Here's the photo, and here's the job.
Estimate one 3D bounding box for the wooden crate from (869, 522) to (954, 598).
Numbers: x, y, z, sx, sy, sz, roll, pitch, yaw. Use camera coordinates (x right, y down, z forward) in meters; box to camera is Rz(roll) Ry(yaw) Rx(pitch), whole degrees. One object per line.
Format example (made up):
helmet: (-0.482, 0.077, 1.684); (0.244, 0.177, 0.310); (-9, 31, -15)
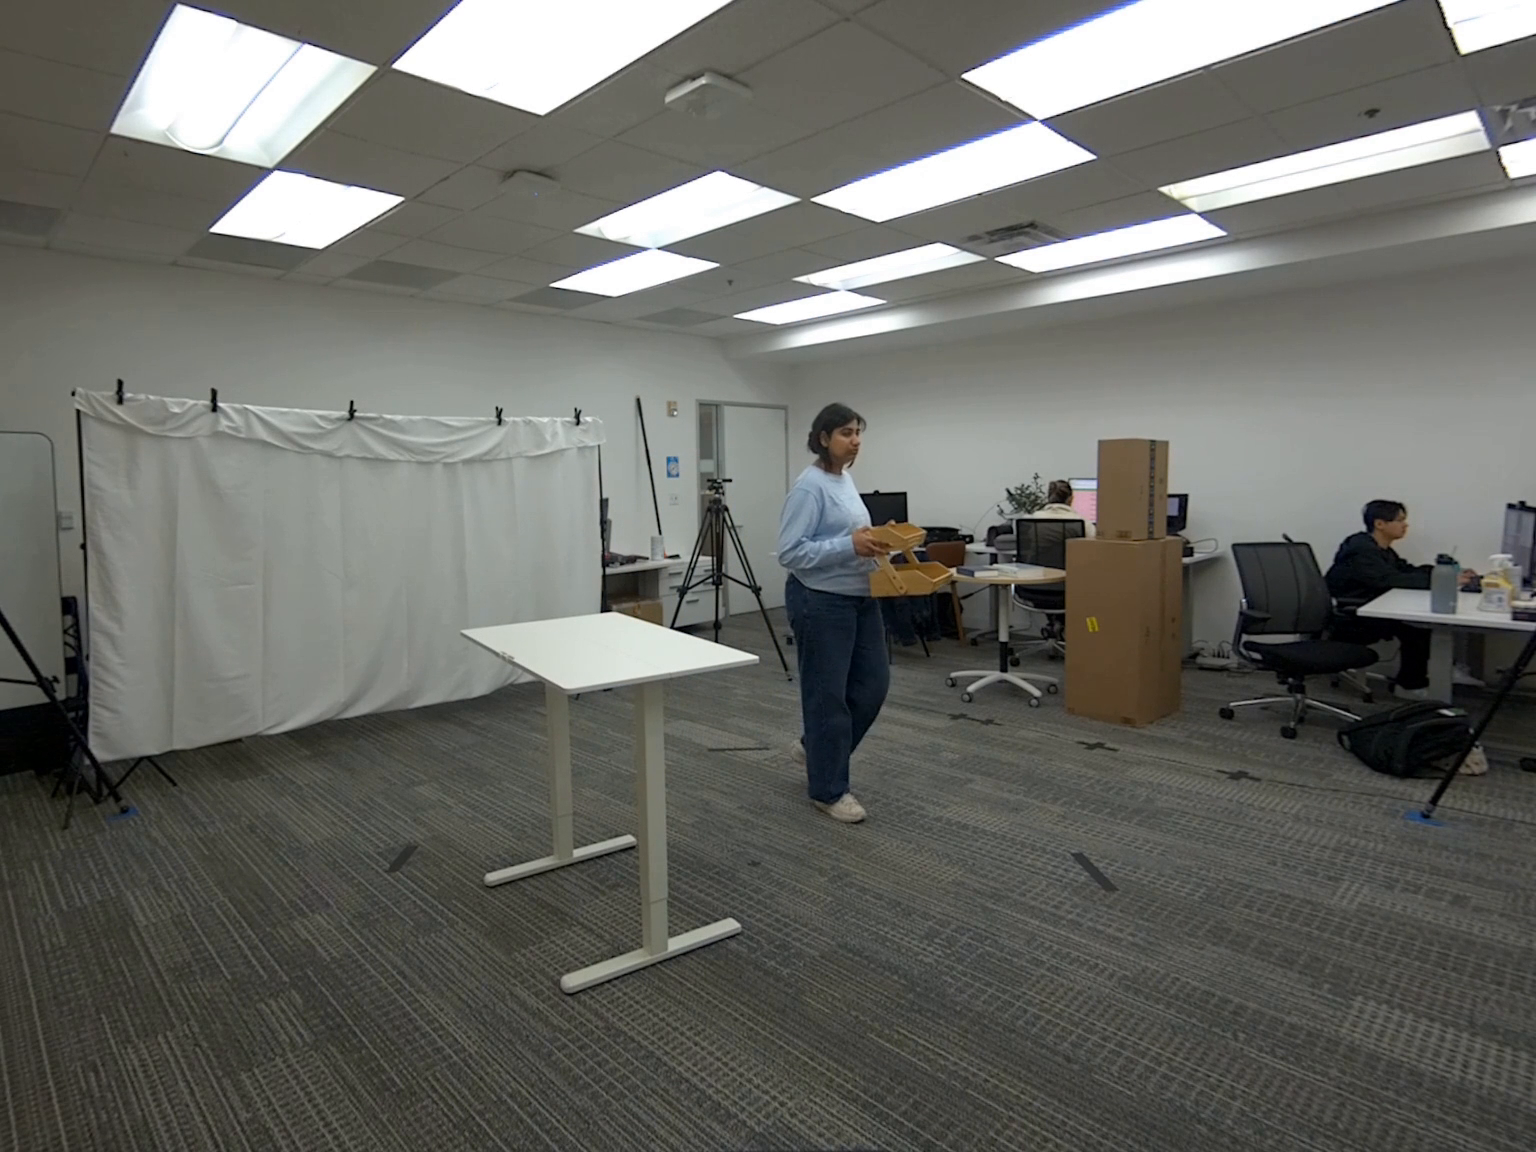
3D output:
wooden crate: (0.533, -0.076, 3.389); (0.308, 0.273, 0.318); (-5, 3, 27)
